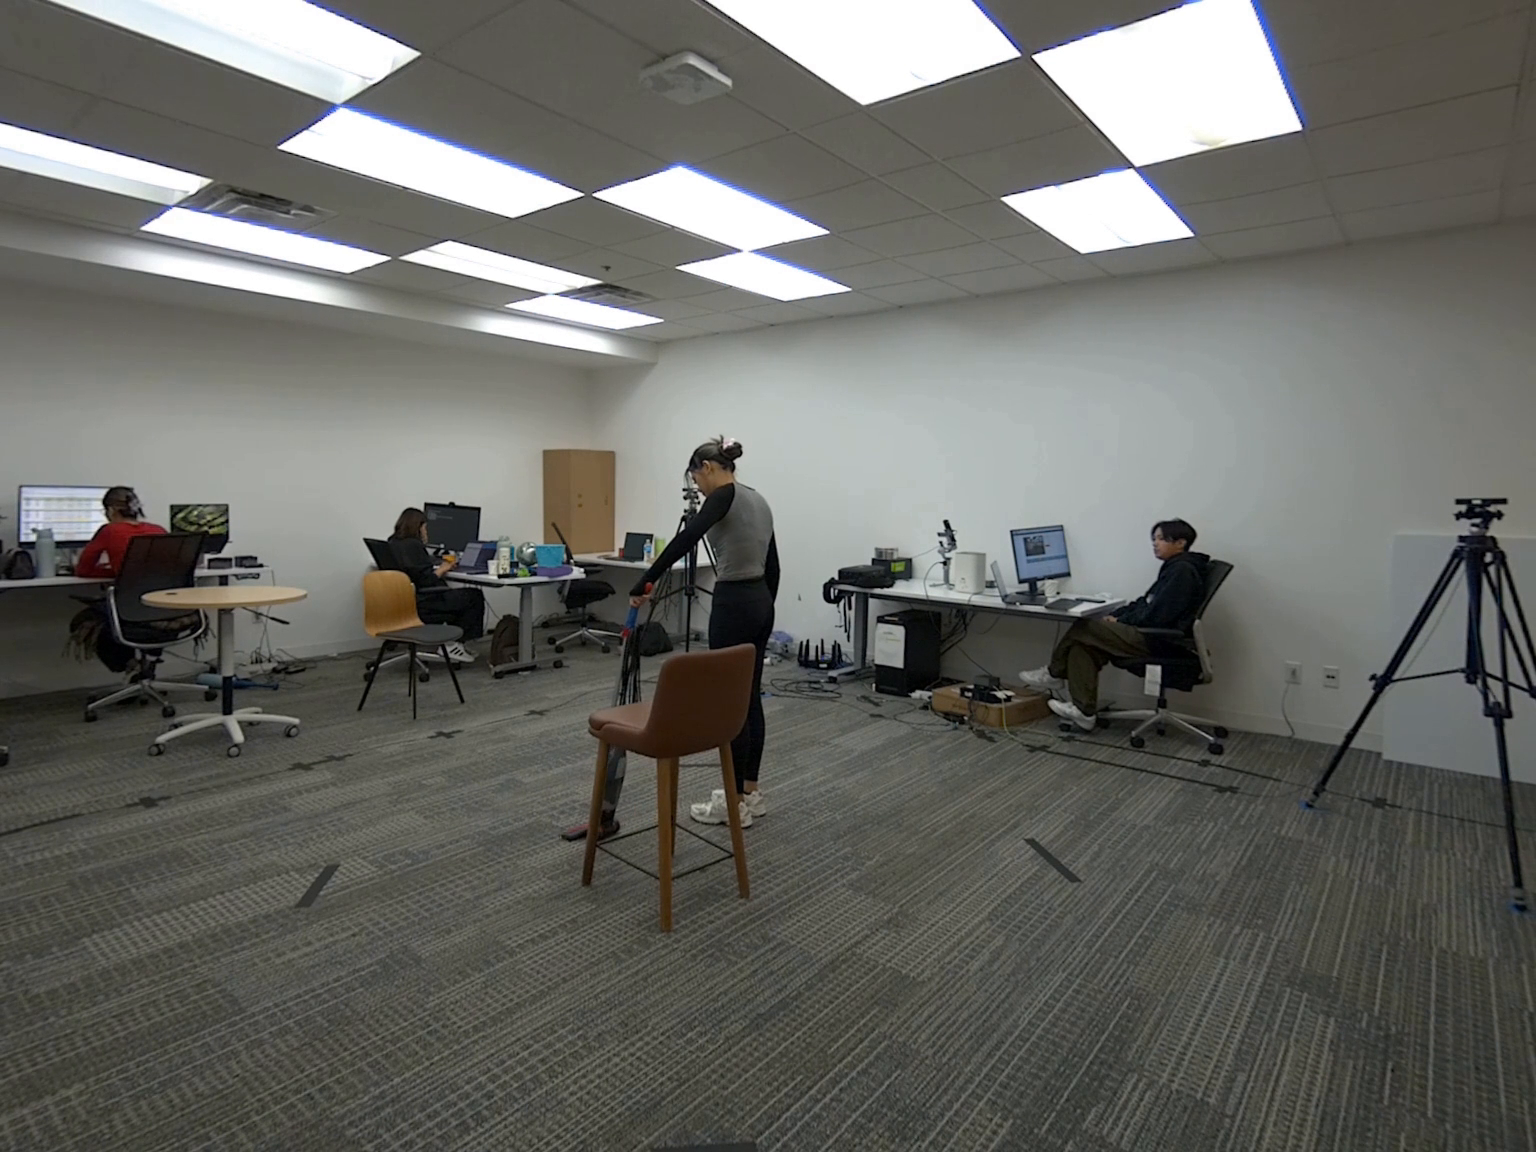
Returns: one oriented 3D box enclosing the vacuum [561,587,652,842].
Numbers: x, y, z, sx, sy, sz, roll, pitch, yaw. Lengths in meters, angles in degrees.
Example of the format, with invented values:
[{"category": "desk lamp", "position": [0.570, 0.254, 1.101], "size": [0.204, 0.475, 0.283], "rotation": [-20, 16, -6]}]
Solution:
[{"category": "vacuum", "position": [-0.591, 0.539, 3.330], "size": [0.149, 1.042, 0.245], "rotation": [20, 12, 36]}]
